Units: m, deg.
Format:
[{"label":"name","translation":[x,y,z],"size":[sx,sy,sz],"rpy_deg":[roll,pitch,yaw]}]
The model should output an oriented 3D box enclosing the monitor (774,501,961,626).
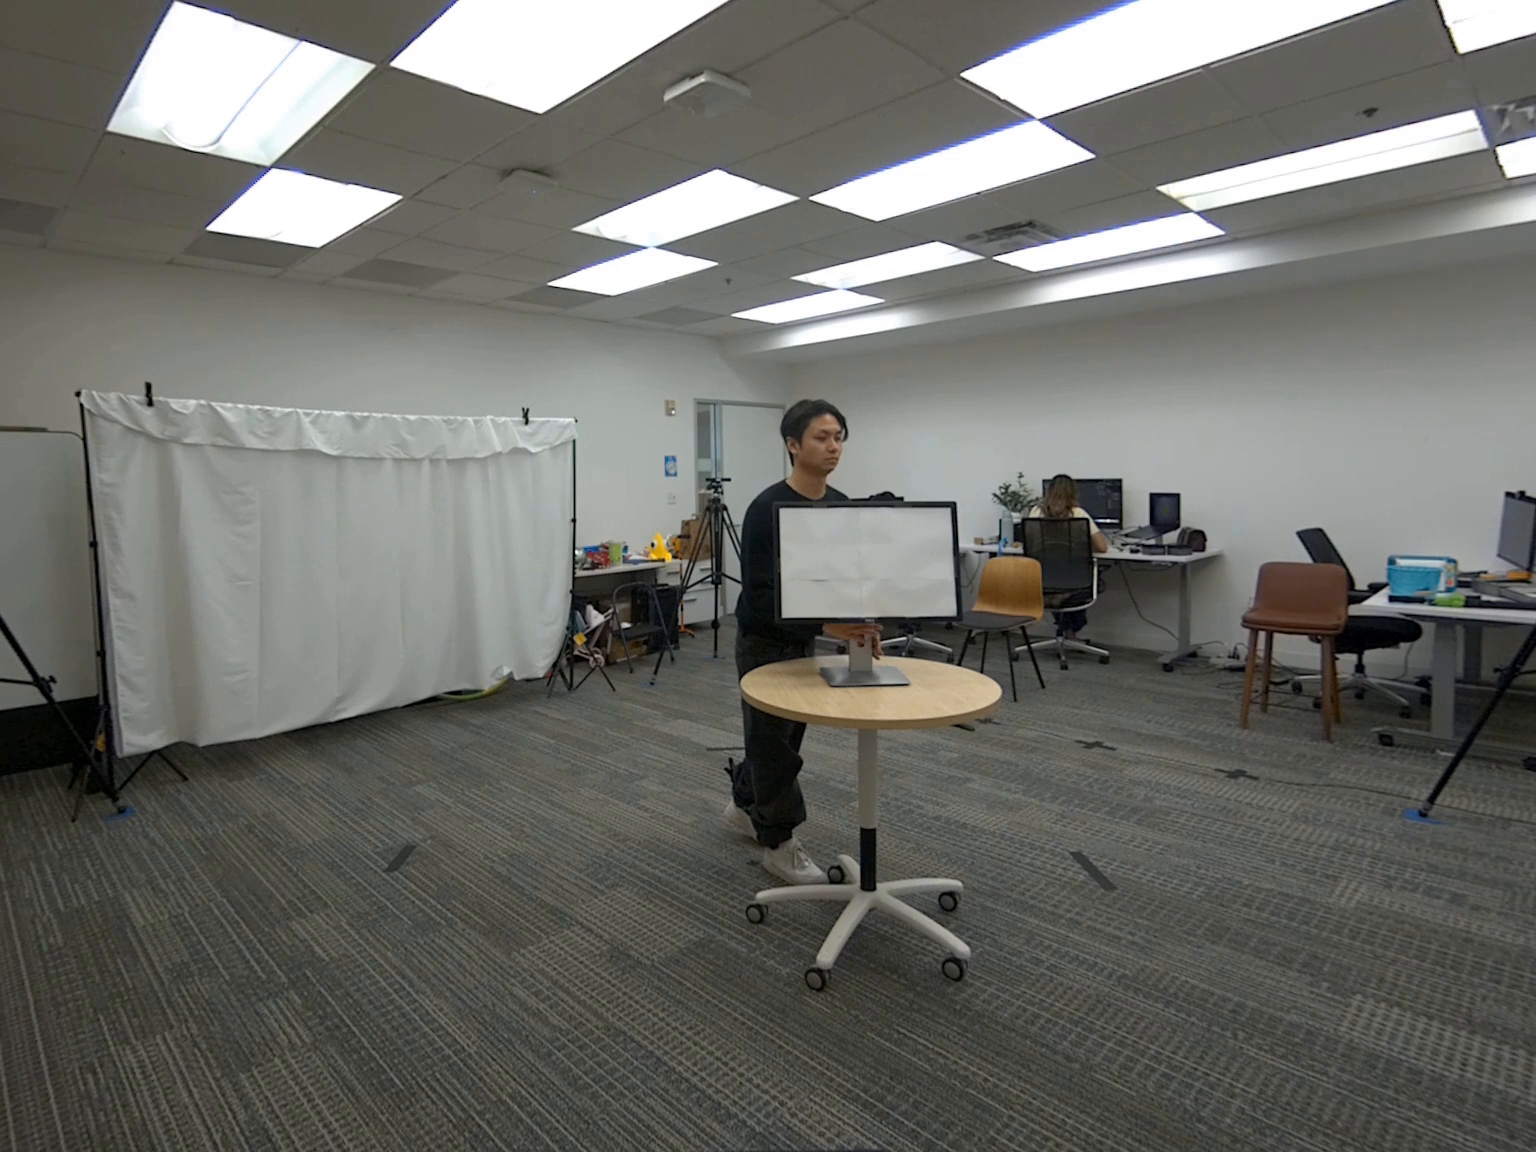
[{"label":"monitor","translation":[0.287,0.051,2.597],"size":[0.527,0.512,0.177],"rpy_deg":[0,8,-5]}]
